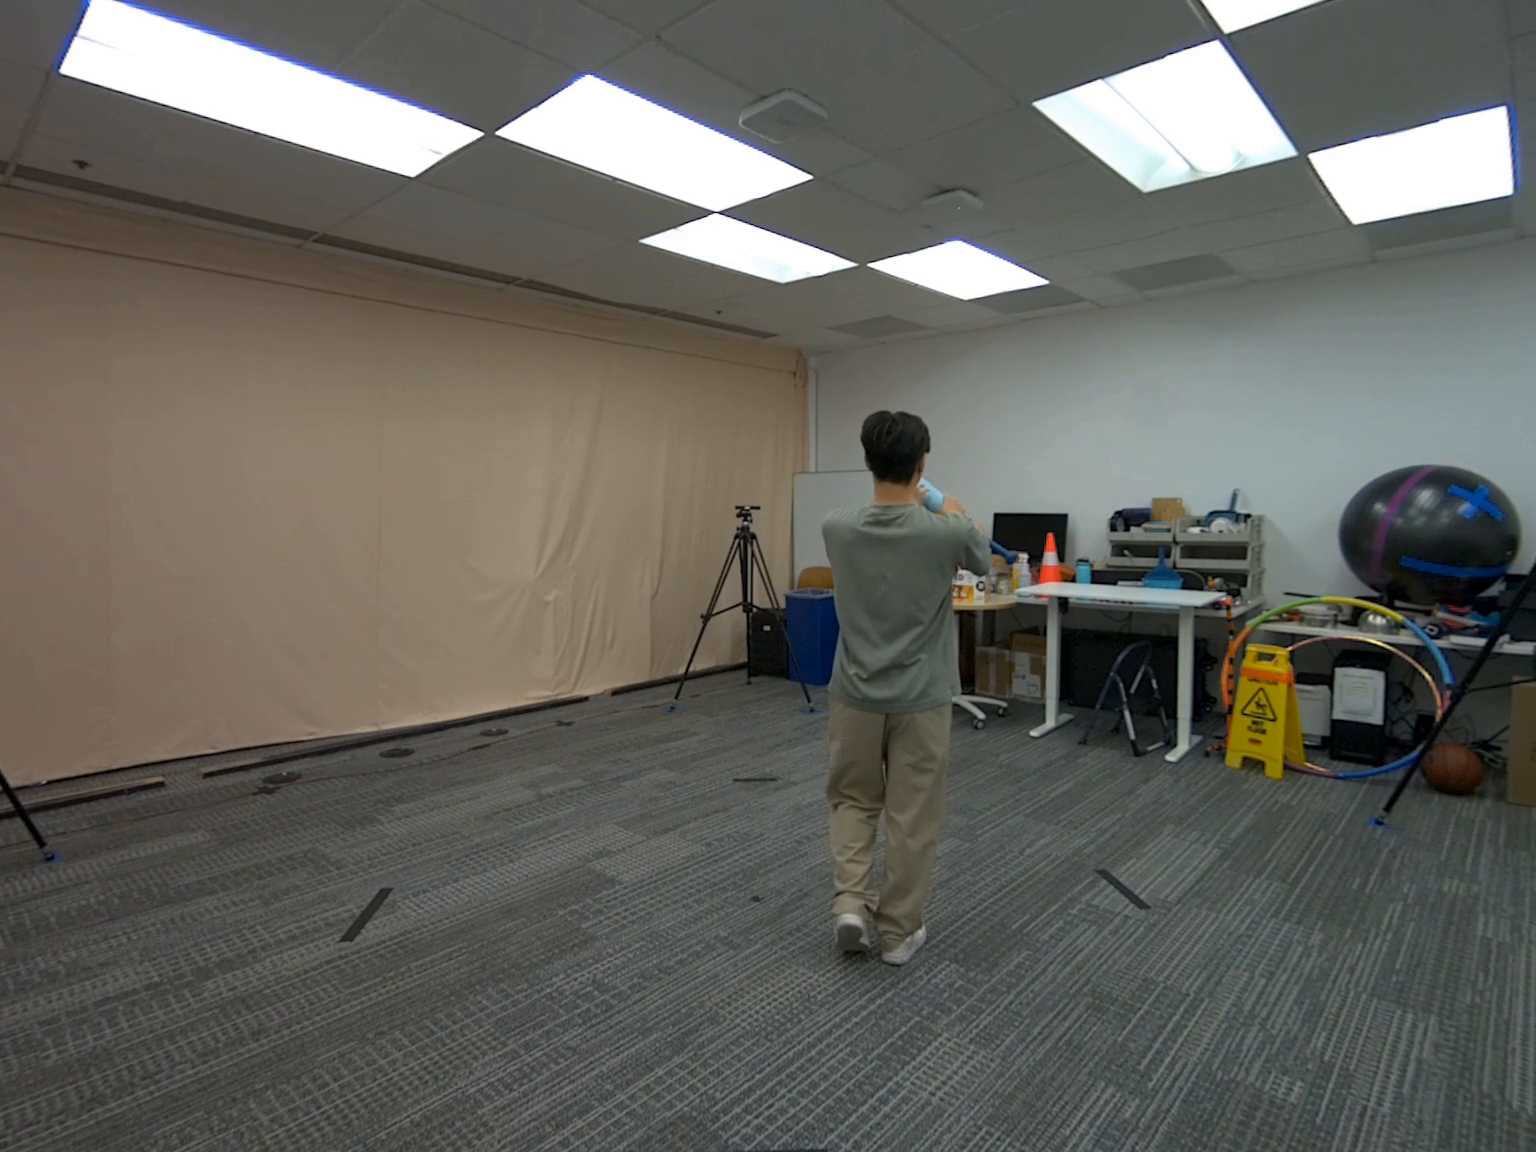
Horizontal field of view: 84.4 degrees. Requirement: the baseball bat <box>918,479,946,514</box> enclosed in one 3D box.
[{"bbox_3d":[0.657,-0.220,2.989,0.559,0.089,0.086,43,26,27],"label":"baseball bat"}]
